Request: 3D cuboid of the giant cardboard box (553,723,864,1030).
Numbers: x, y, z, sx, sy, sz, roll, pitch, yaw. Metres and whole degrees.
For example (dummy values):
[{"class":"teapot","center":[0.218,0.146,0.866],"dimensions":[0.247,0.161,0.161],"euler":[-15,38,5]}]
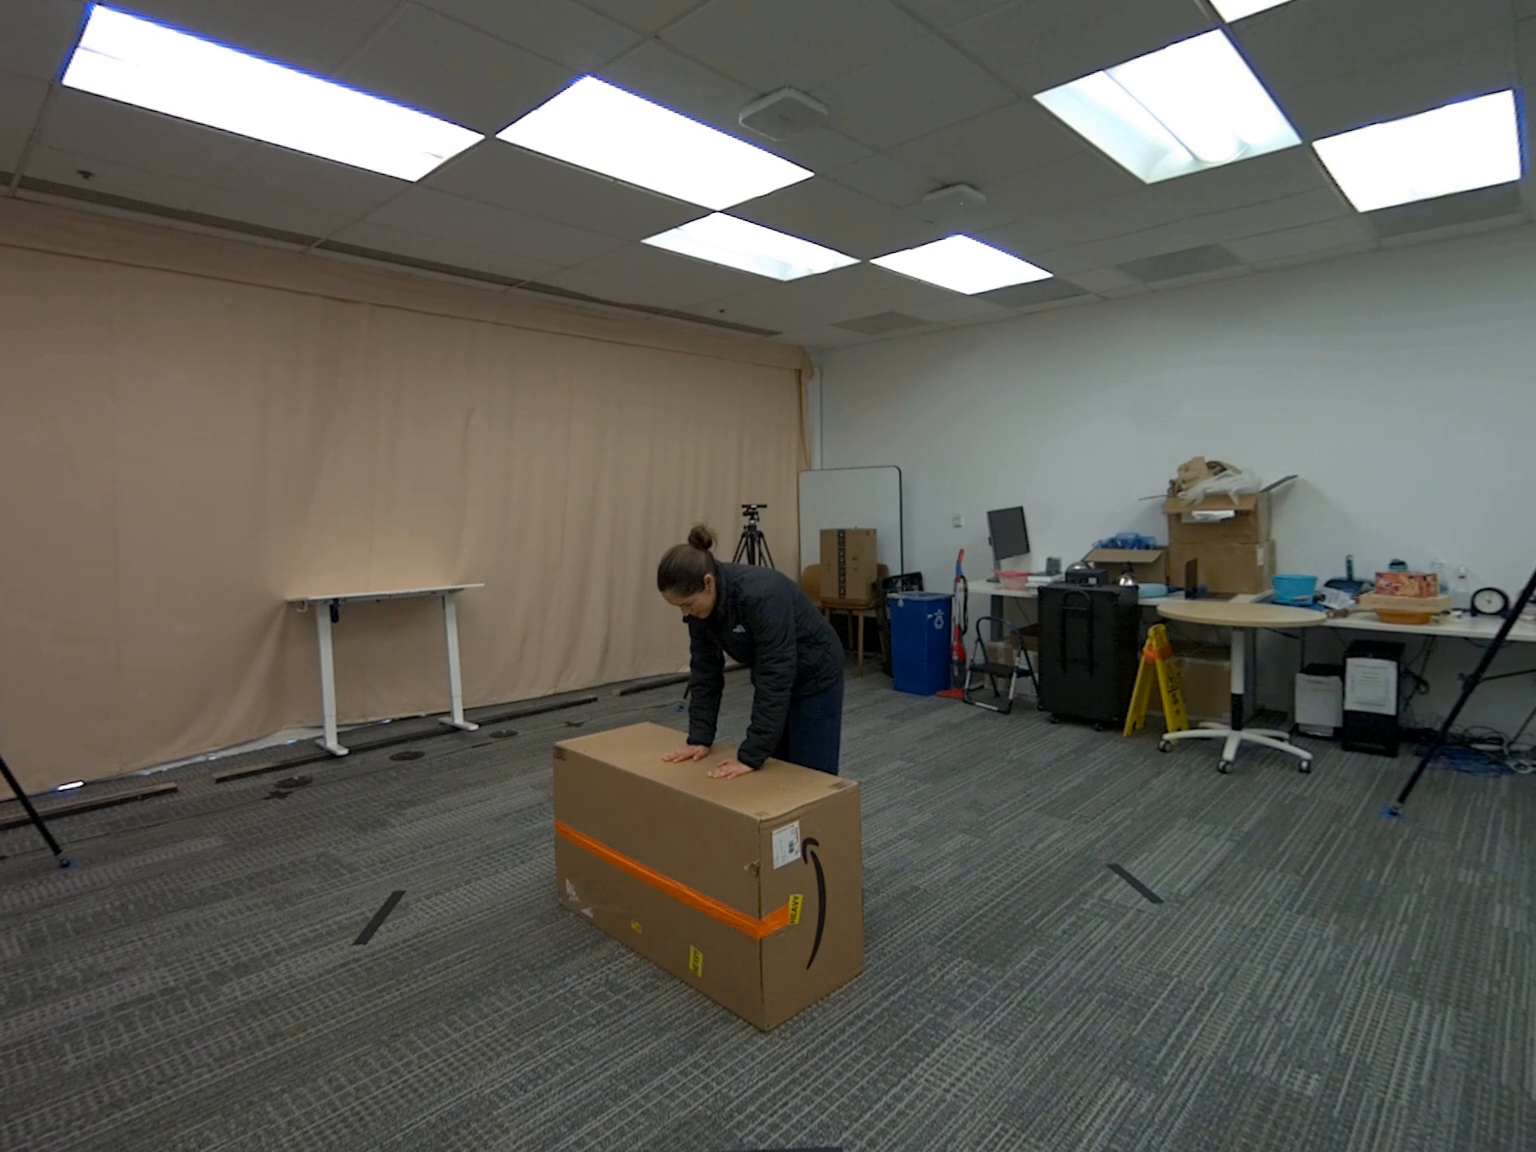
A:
[{"class":"giant cardboard box","center":[-0.222,0.883,2.714],"dimensions":[0.433,0.583,1.061],"euler":[-3,4,-43]}]
